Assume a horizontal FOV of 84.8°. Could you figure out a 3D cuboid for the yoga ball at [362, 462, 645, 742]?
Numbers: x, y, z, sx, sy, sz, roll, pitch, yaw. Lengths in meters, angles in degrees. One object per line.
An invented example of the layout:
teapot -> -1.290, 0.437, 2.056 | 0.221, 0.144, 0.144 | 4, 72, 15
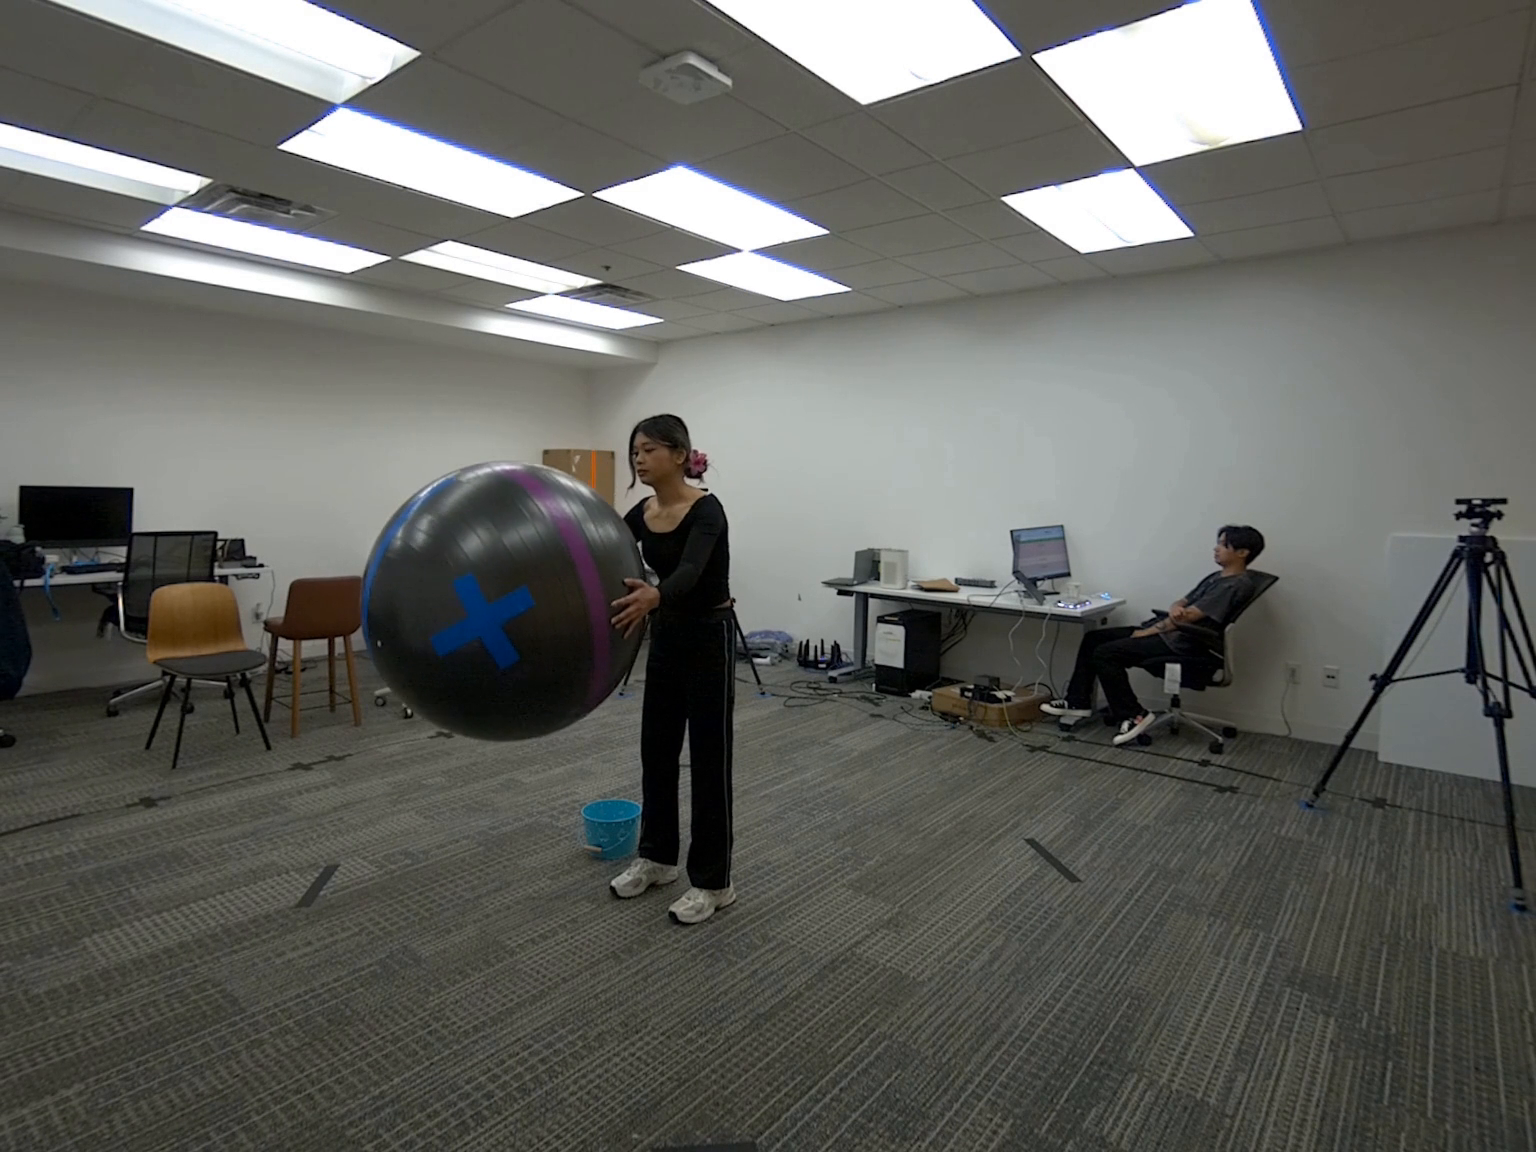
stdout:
yoga ball -> -0.725, 0.074, 2.321 | 0.757, 0.755, 0.762 | 1, 4, -2
